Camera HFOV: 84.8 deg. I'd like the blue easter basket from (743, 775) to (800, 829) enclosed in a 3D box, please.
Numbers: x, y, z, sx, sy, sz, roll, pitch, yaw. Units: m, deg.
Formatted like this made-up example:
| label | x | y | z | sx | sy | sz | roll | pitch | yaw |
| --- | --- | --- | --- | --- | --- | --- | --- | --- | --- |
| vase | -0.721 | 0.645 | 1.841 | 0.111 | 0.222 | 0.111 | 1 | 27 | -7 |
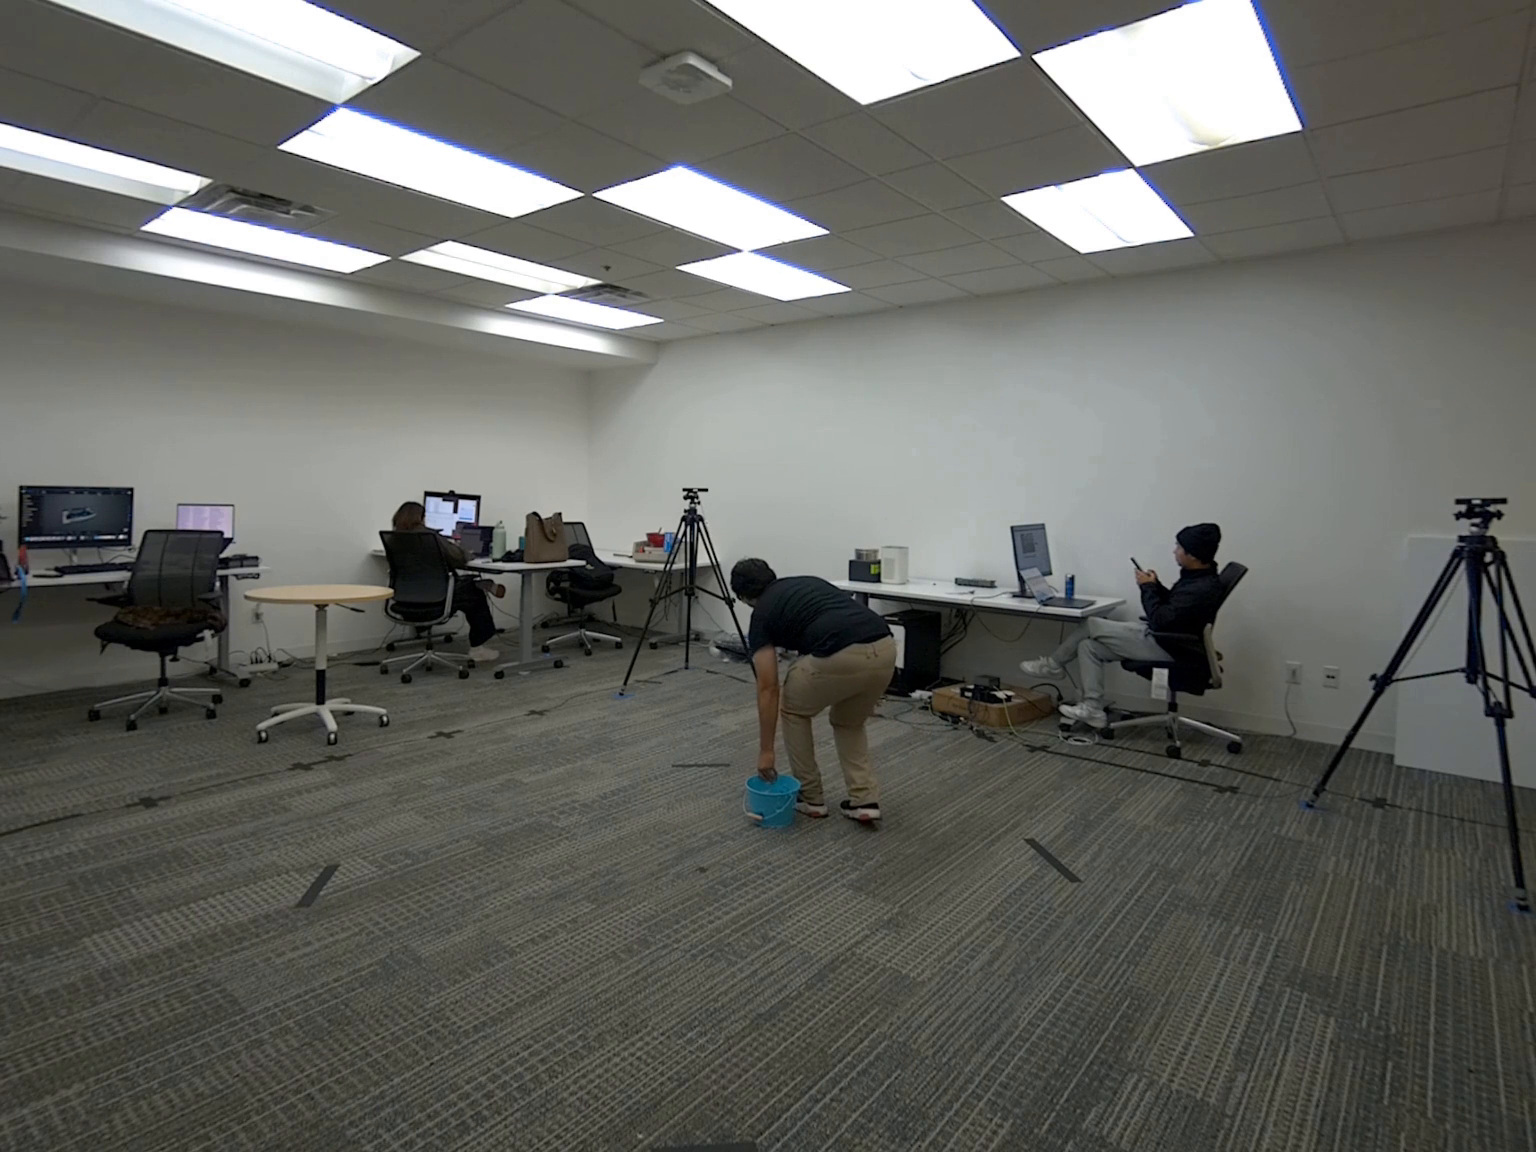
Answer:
| label | x | y | z | sx | sy | sz | roll | pitch | yaw |
| --- | --- | --- | --- | --- | --- | --- | --- | --- | --- |
| blue easter basket | 0.005 | 0.948 | 3.600 | 0.243 | 0.155 | 0.245 | 1 | 7 | -2 |
